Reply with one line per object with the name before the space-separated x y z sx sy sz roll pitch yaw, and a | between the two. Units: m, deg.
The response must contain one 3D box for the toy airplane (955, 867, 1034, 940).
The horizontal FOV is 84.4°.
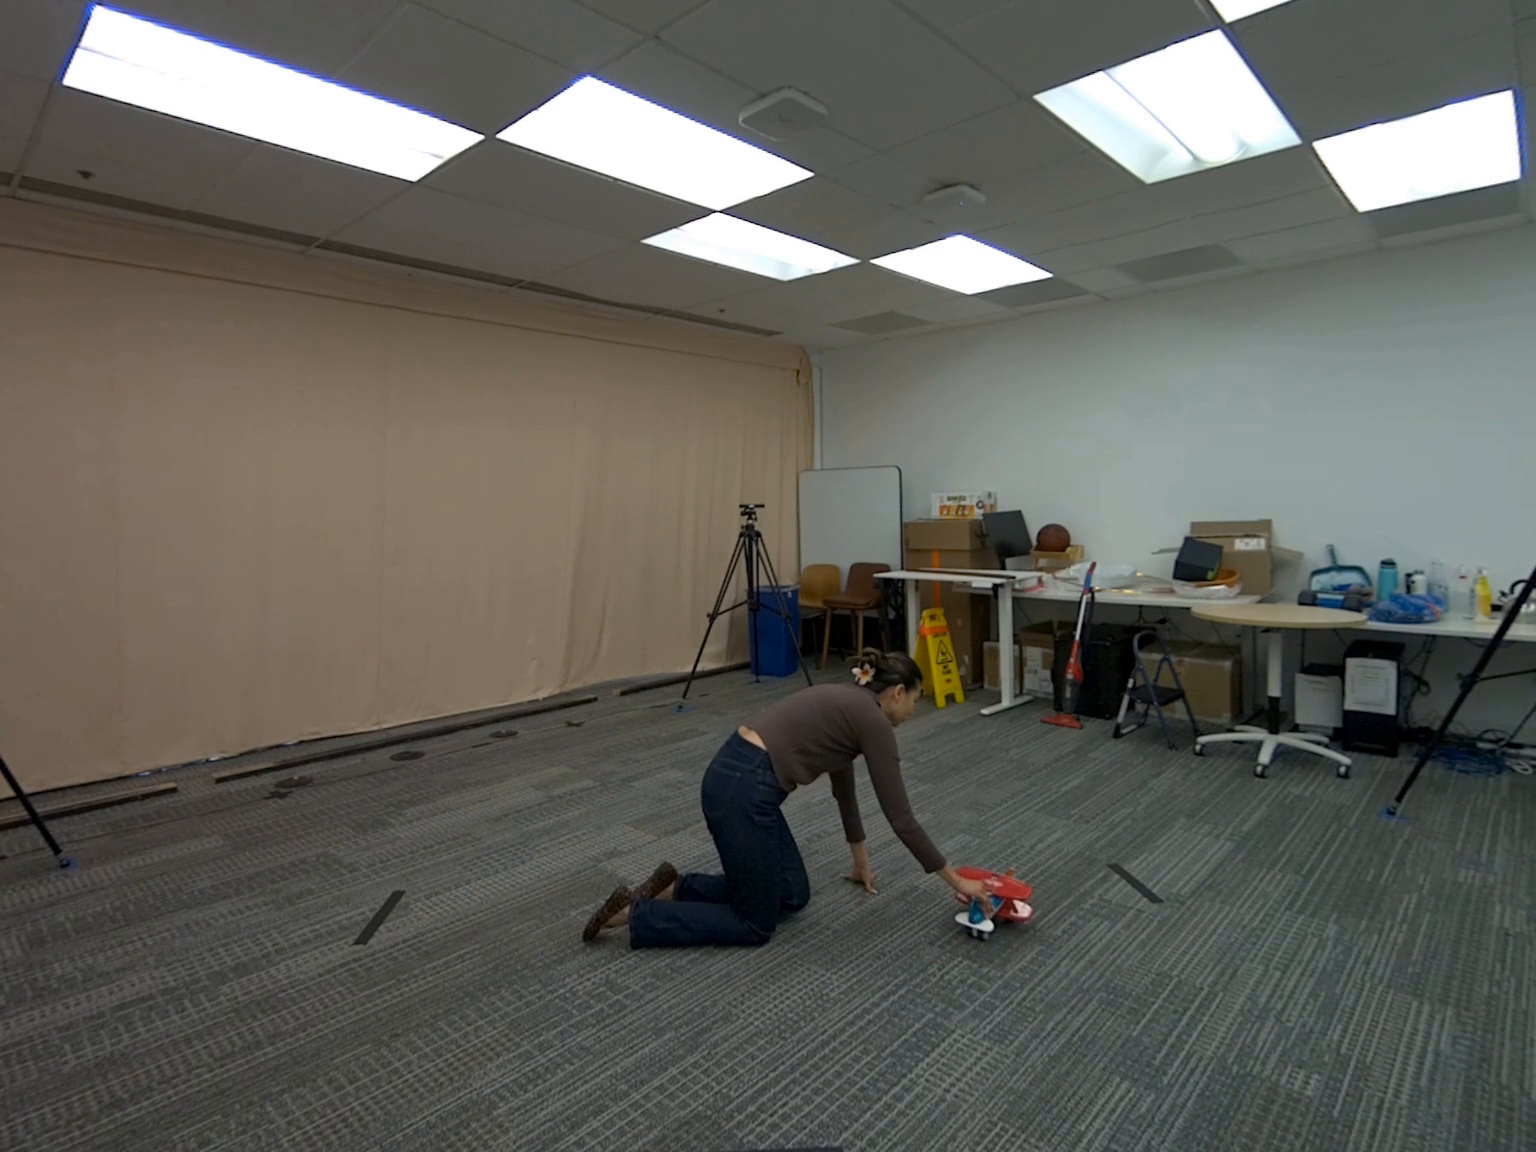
toy airplane | 0.742 1.078 2.731 0.254 0.156 0.256 0 4 11
